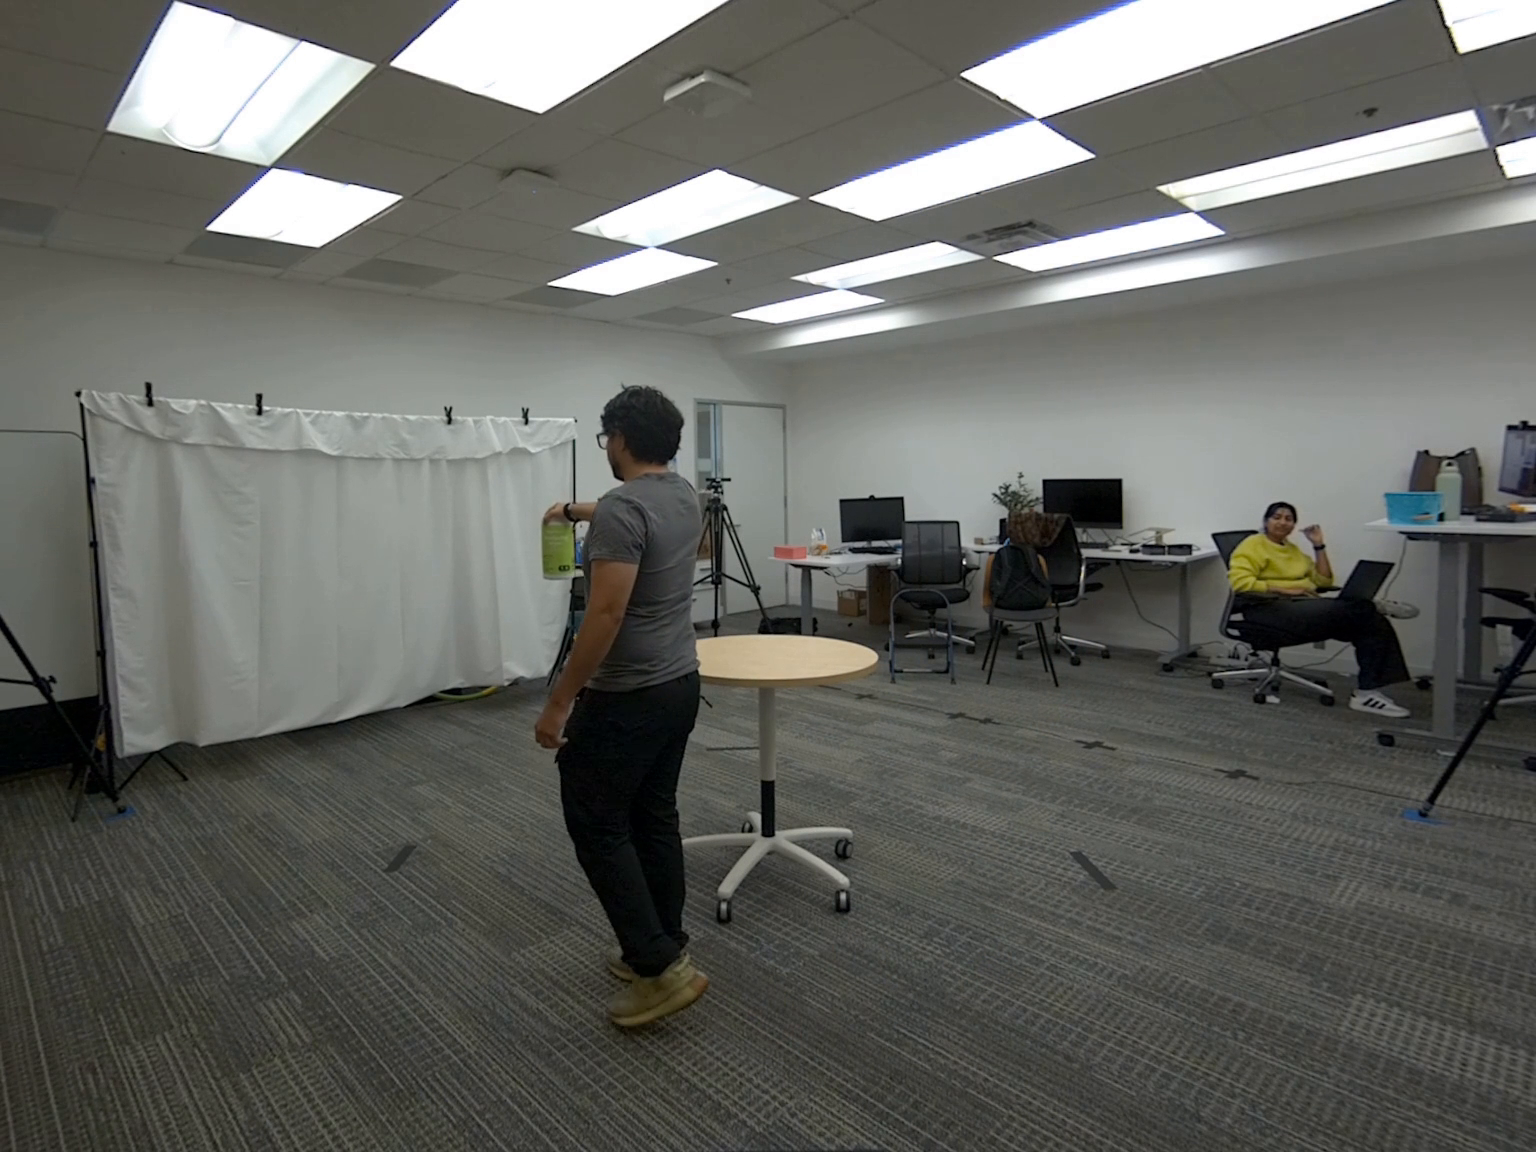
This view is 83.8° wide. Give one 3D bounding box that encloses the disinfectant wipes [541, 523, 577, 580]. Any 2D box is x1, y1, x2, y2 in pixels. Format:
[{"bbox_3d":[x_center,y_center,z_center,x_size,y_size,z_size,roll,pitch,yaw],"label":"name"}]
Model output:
[{"bbox_3d":[-0.713,-0.102,2.922,0.118,0.216,0.118,-1,5,-2],"label":"disinfectant wipes"}]
